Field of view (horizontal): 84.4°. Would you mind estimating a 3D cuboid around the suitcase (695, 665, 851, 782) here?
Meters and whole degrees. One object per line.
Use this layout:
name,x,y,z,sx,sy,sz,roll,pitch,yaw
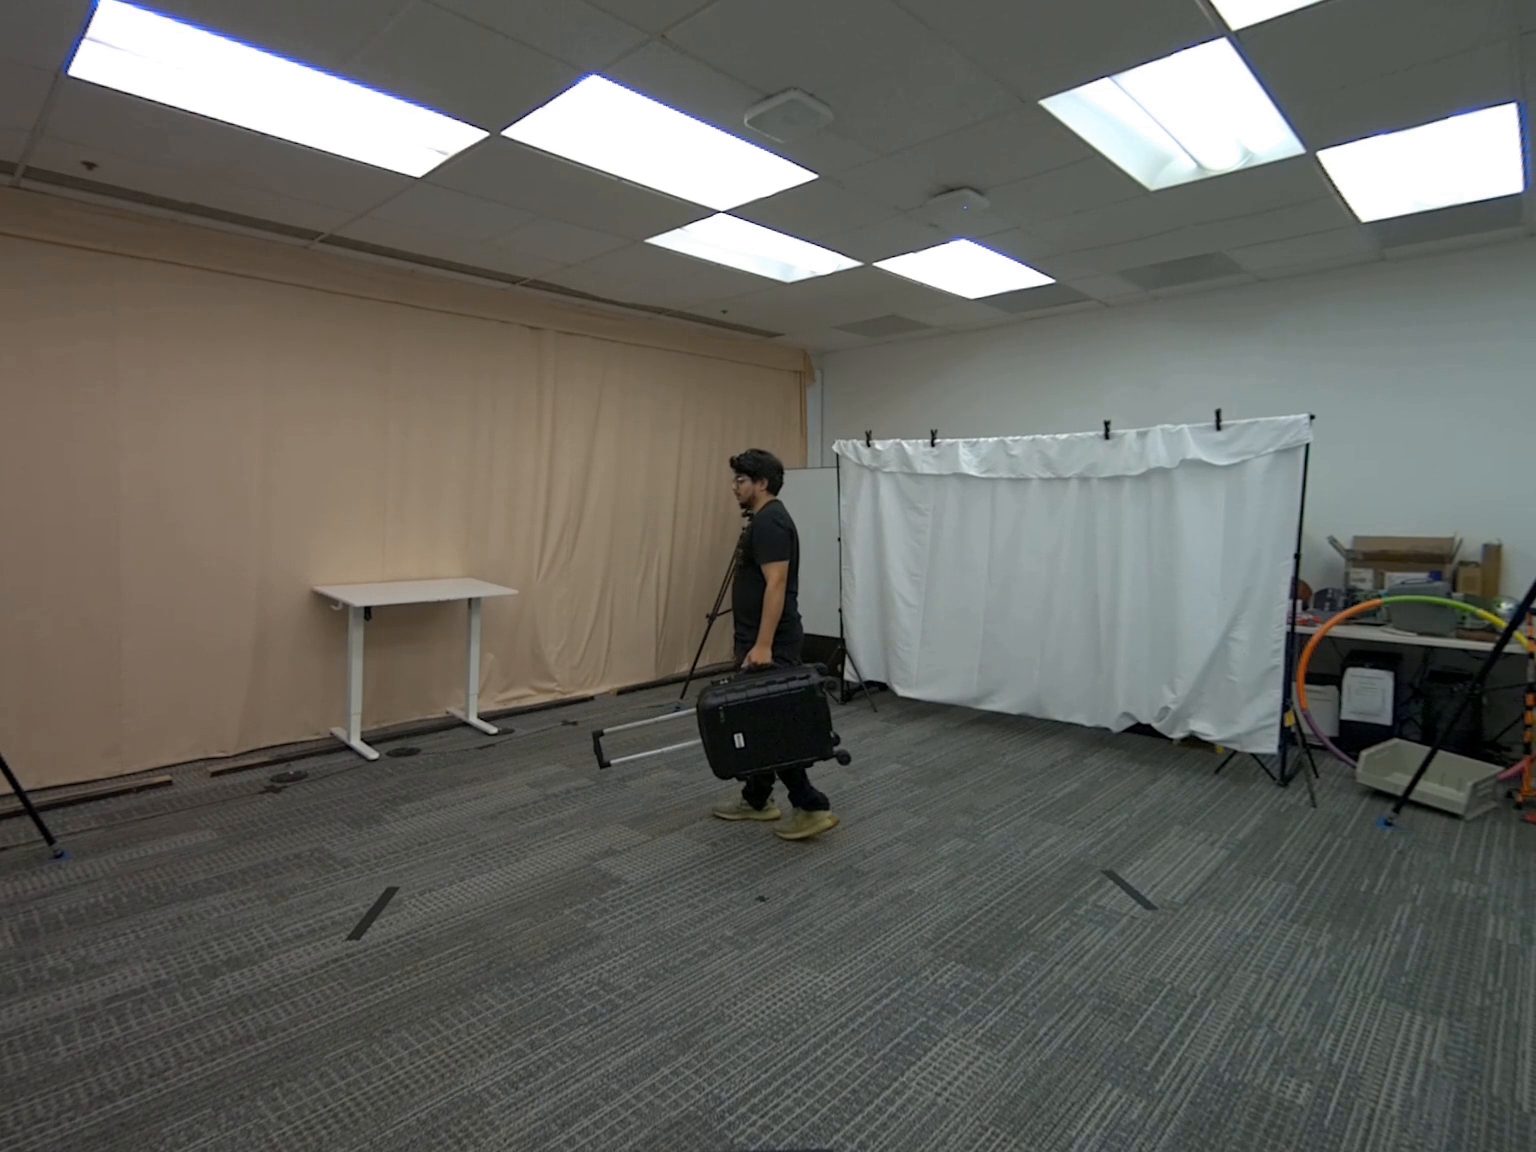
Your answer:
suitcase,-0.204,0.596,3.303,0.975,0.382,0.259,-10,7,-3
